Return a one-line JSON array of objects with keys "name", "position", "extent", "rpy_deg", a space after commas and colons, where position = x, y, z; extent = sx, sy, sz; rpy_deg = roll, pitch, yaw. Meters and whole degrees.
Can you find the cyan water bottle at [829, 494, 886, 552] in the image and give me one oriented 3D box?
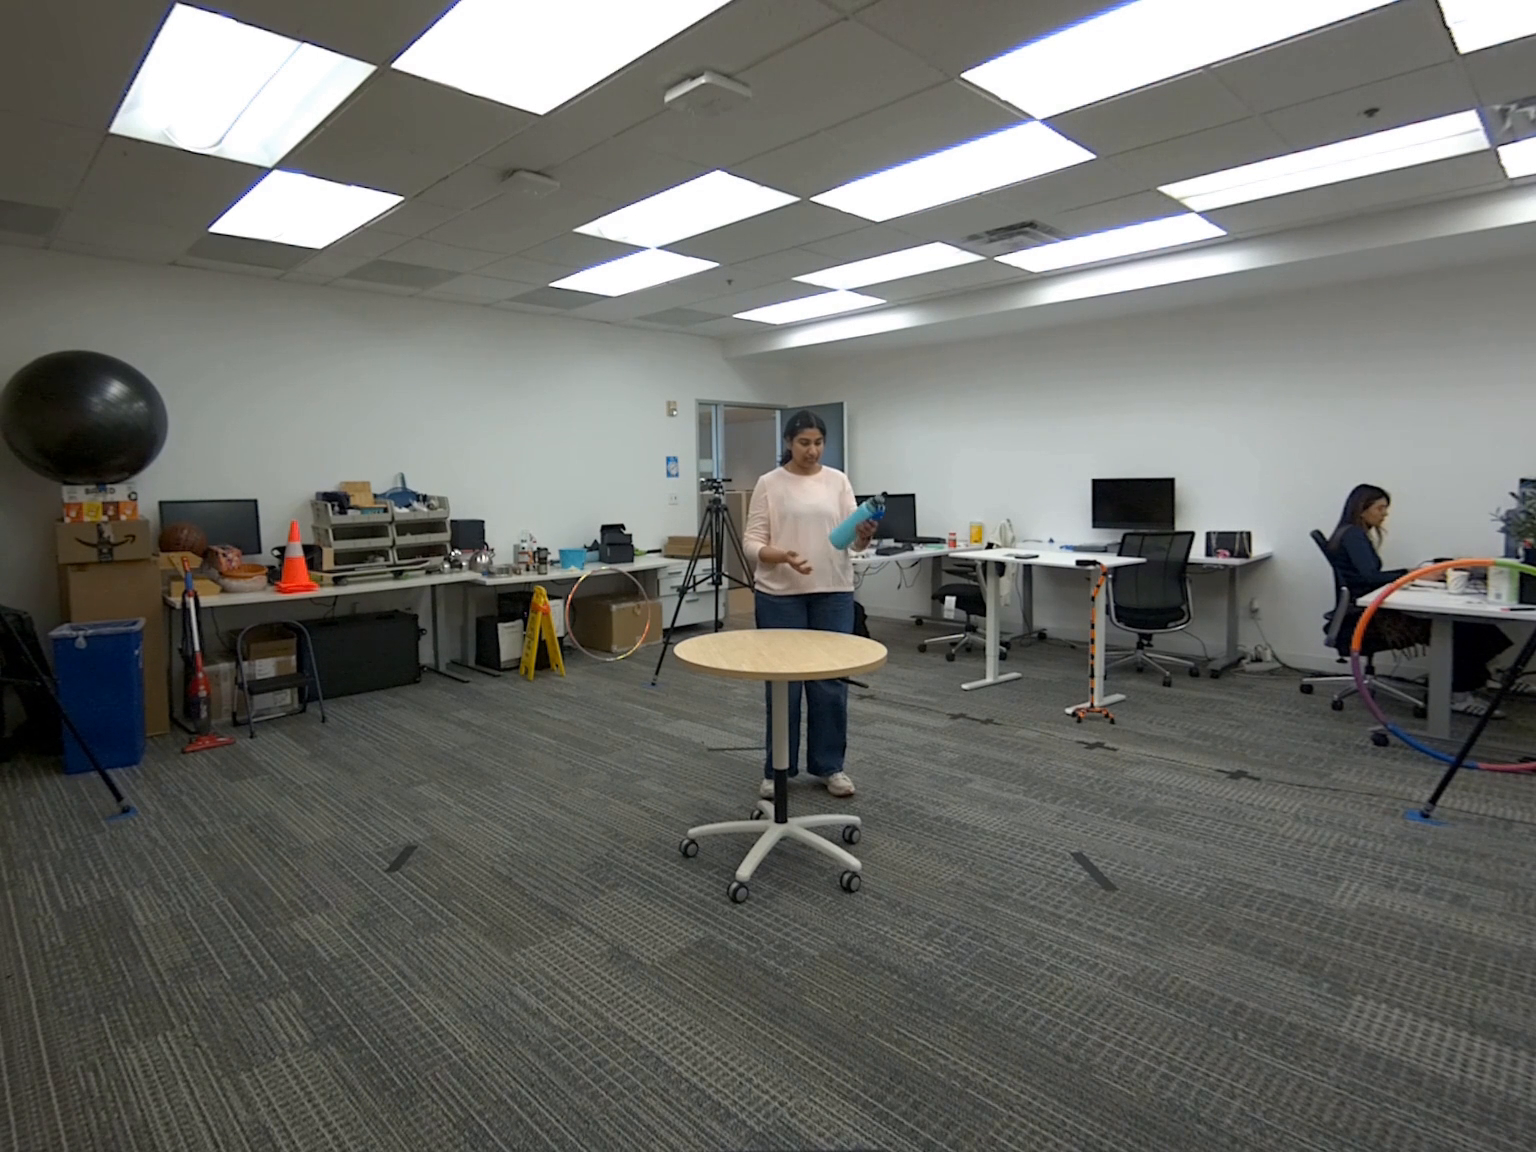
[{"name": "cyan water bottle", "position": [0.371, -0.230, 3.506], "extent": [0.090, 0.095, 0.283], "rpy_deg": [-5, -33, -43]}]
